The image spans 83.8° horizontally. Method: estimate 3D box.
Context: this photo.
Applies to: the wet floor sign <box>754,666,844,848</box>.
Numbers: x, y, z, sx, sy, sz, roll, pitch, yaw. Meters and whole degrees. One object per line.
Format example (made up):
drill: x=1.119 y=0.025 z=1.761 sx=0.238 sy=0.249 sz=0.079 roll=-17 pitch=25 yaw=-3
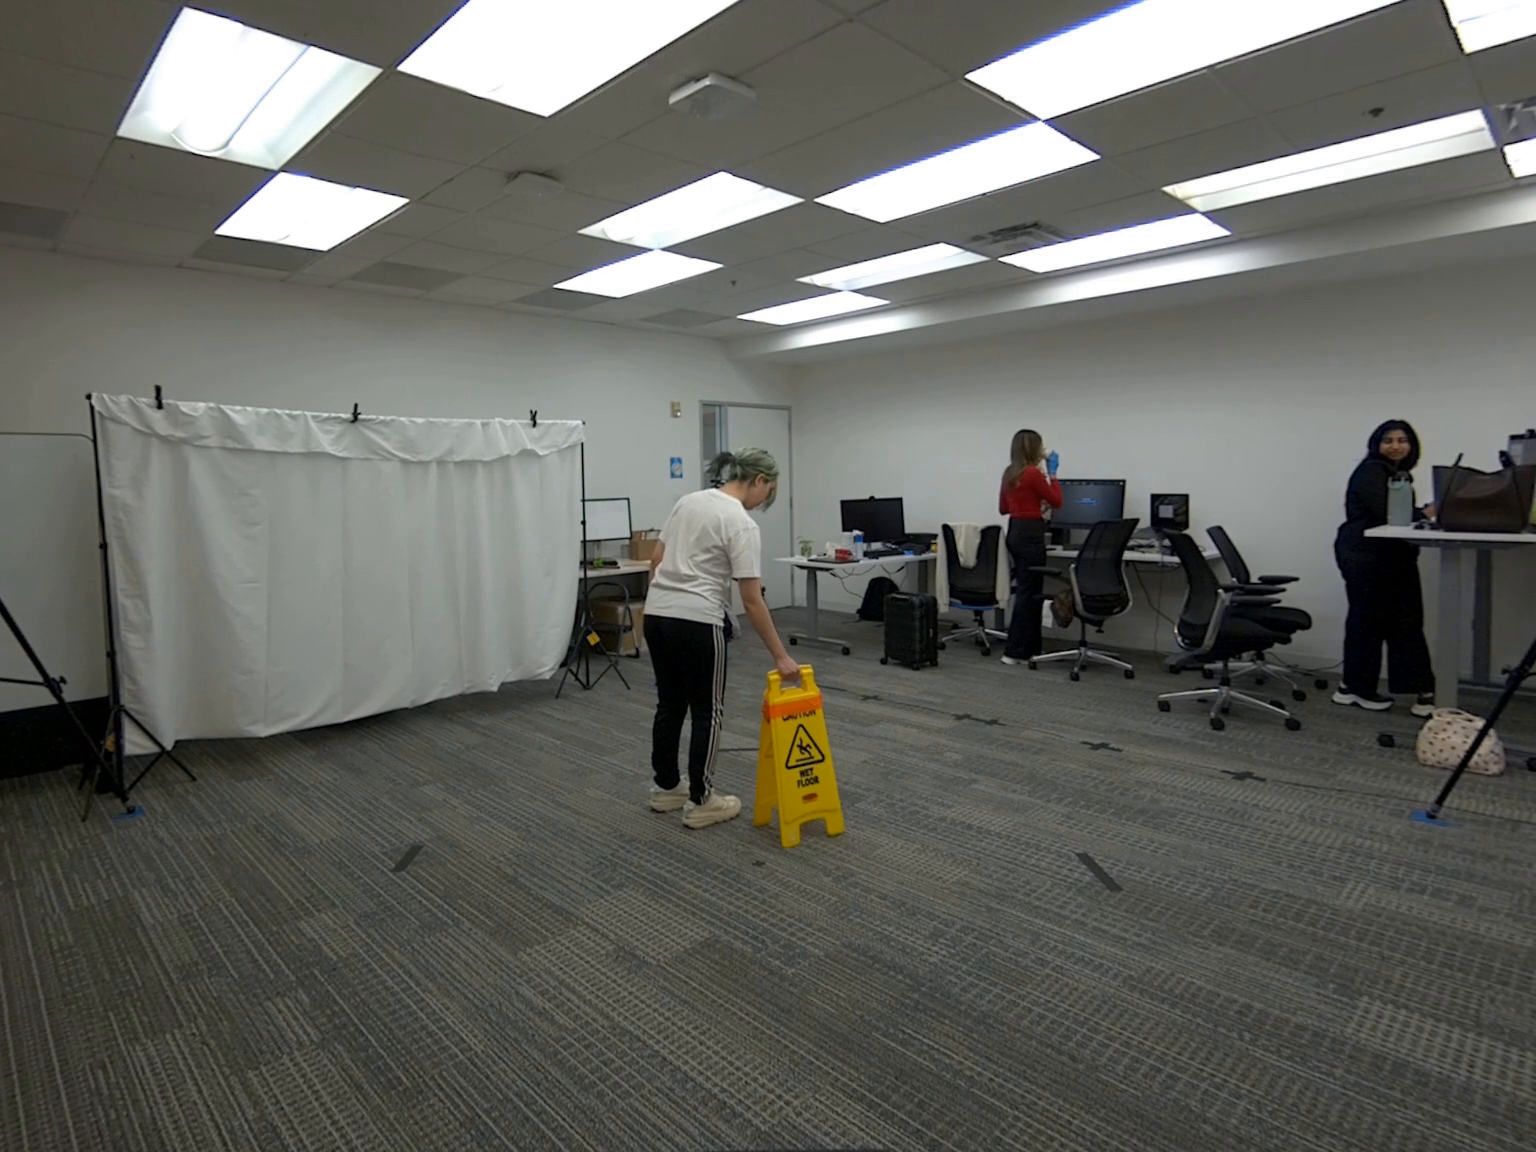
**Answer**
wet floor sign: x=0.100 y=0.680 z=3.384 sx=0.276 sy=0.644 sz=0.297 roll=-4 pitch=4 yaw=-26
